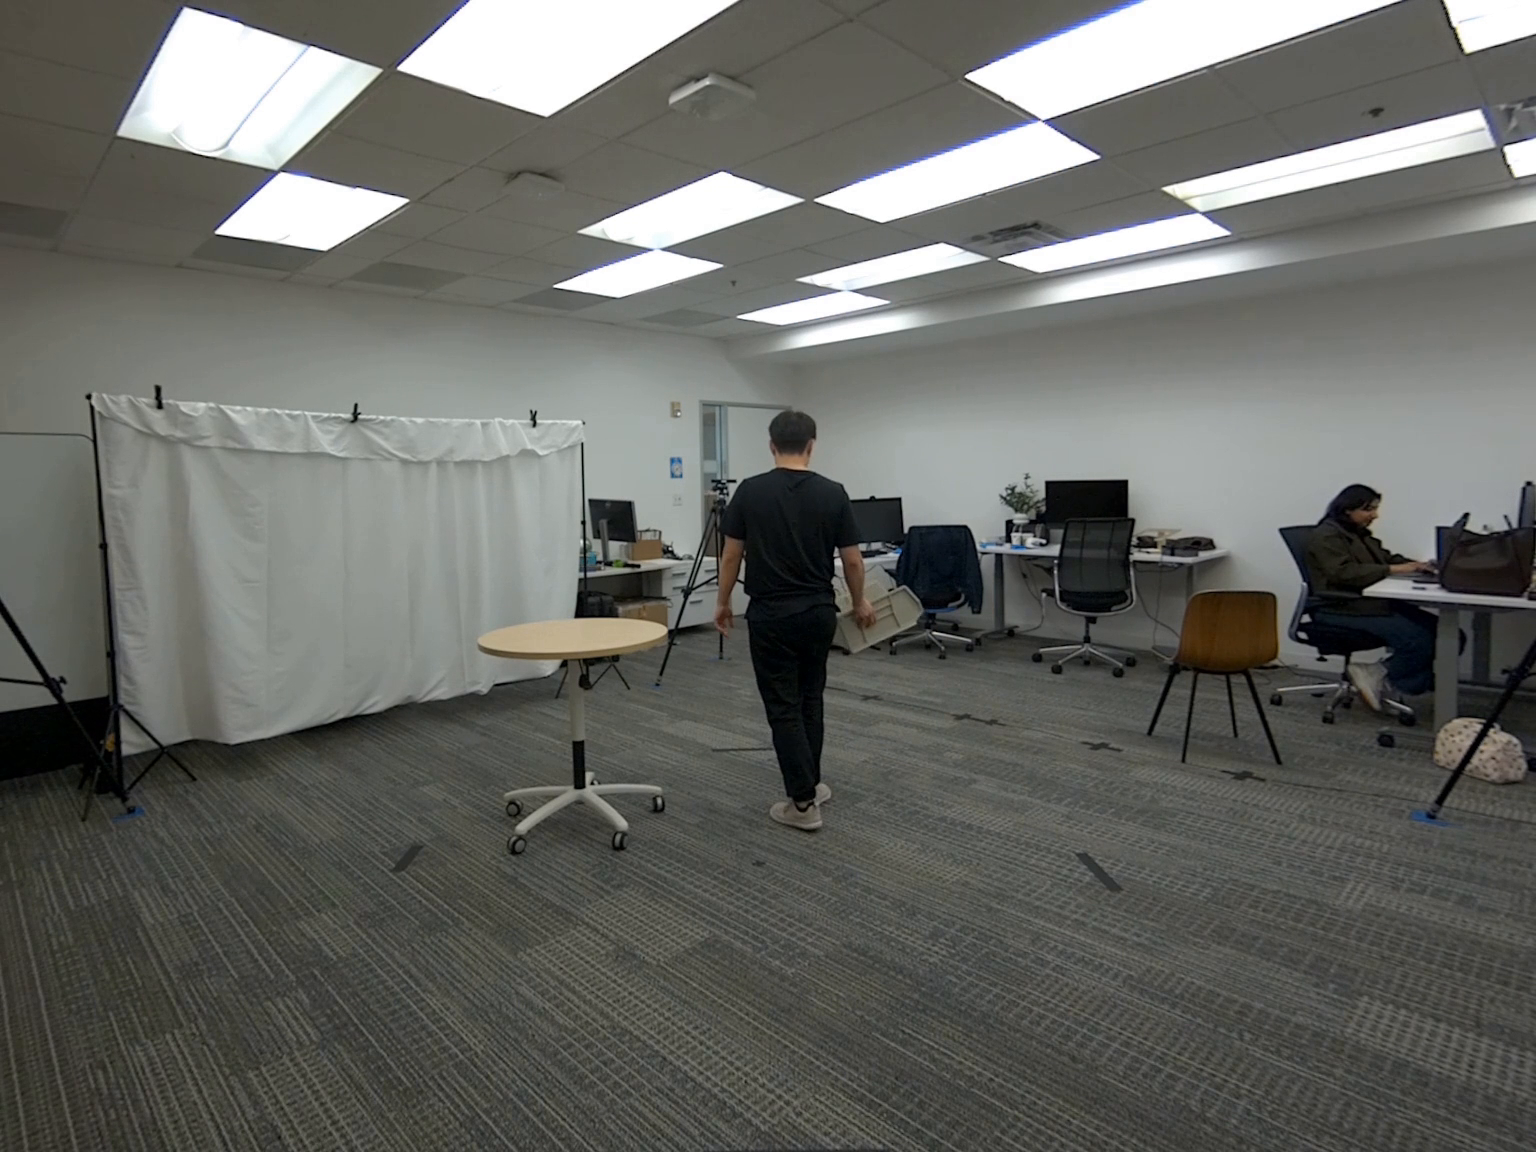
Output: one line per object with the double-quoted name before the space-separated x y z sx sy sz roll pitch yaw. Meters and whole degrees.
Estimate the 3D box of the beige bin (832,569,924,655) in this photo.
"beige bin" 0.467 0.182 3.910 0.376 0.188 0.427 -25 7 -9
